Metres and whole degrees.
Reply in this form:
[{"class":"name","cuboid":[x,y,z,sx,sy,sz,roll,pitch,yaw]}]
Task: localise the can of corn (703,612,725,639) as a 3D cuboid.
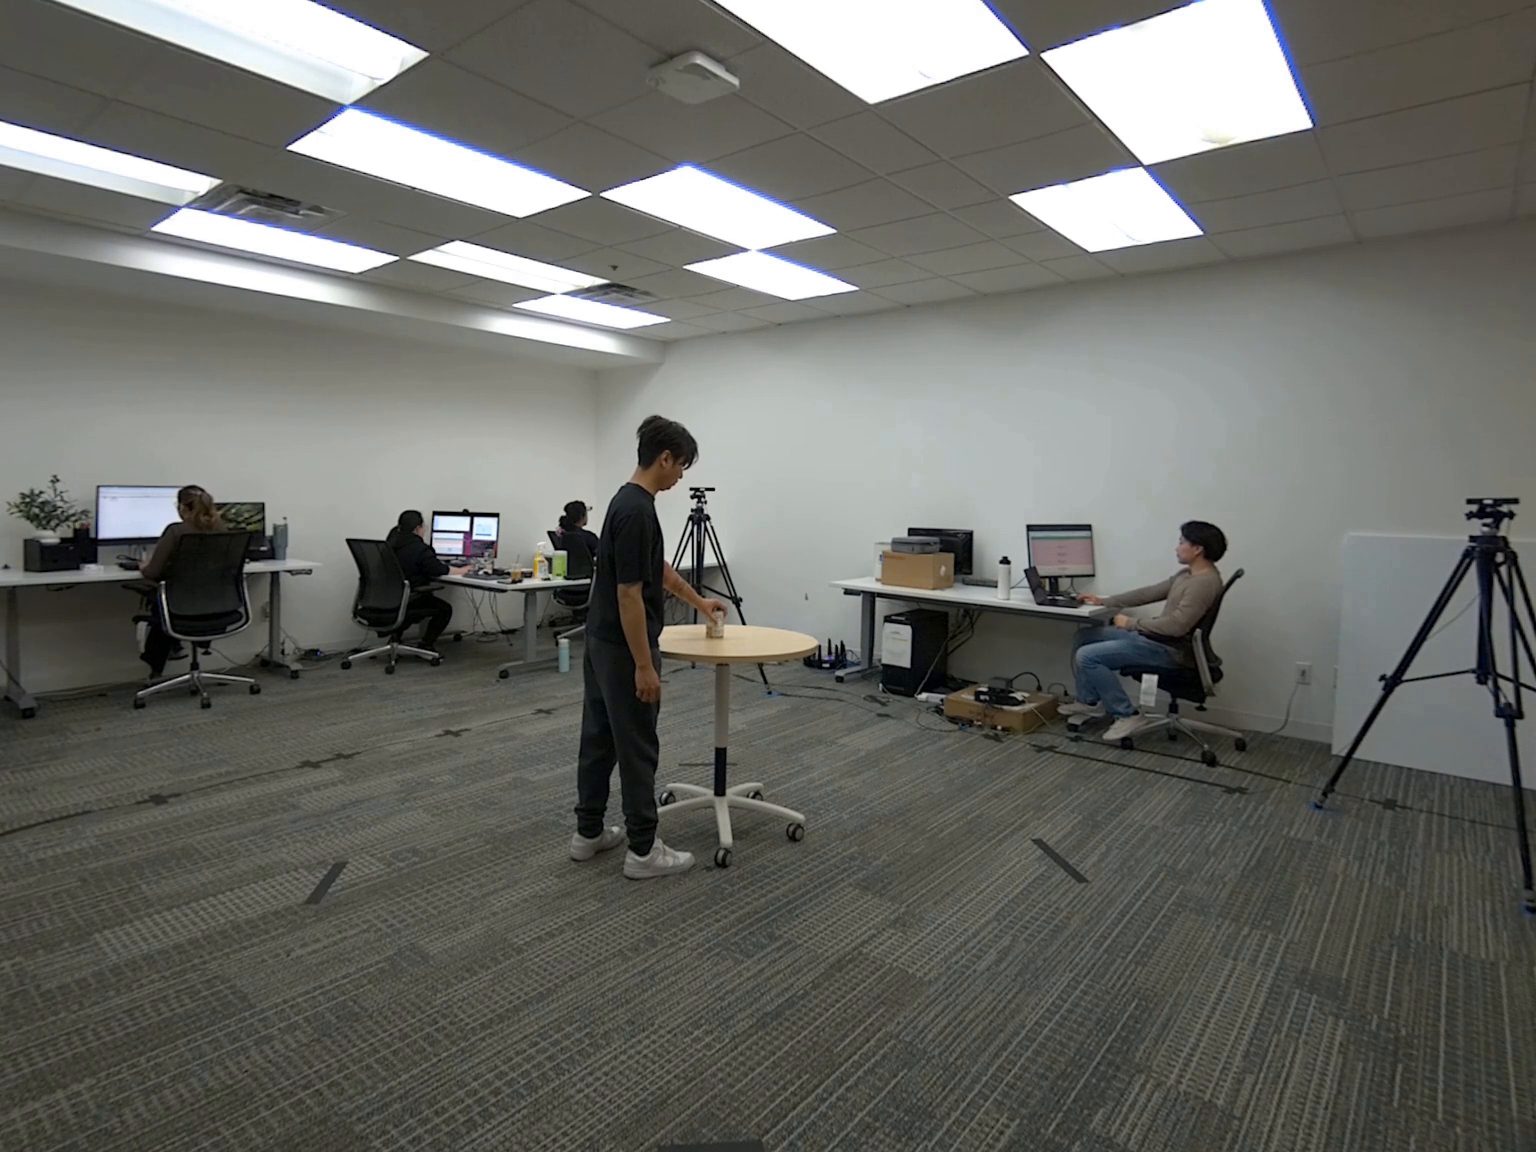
[{"class":"can of corn","cuboid":[-0.224,0.187,3.490,0.074,0.110,0.074,0,5,-2]}]
